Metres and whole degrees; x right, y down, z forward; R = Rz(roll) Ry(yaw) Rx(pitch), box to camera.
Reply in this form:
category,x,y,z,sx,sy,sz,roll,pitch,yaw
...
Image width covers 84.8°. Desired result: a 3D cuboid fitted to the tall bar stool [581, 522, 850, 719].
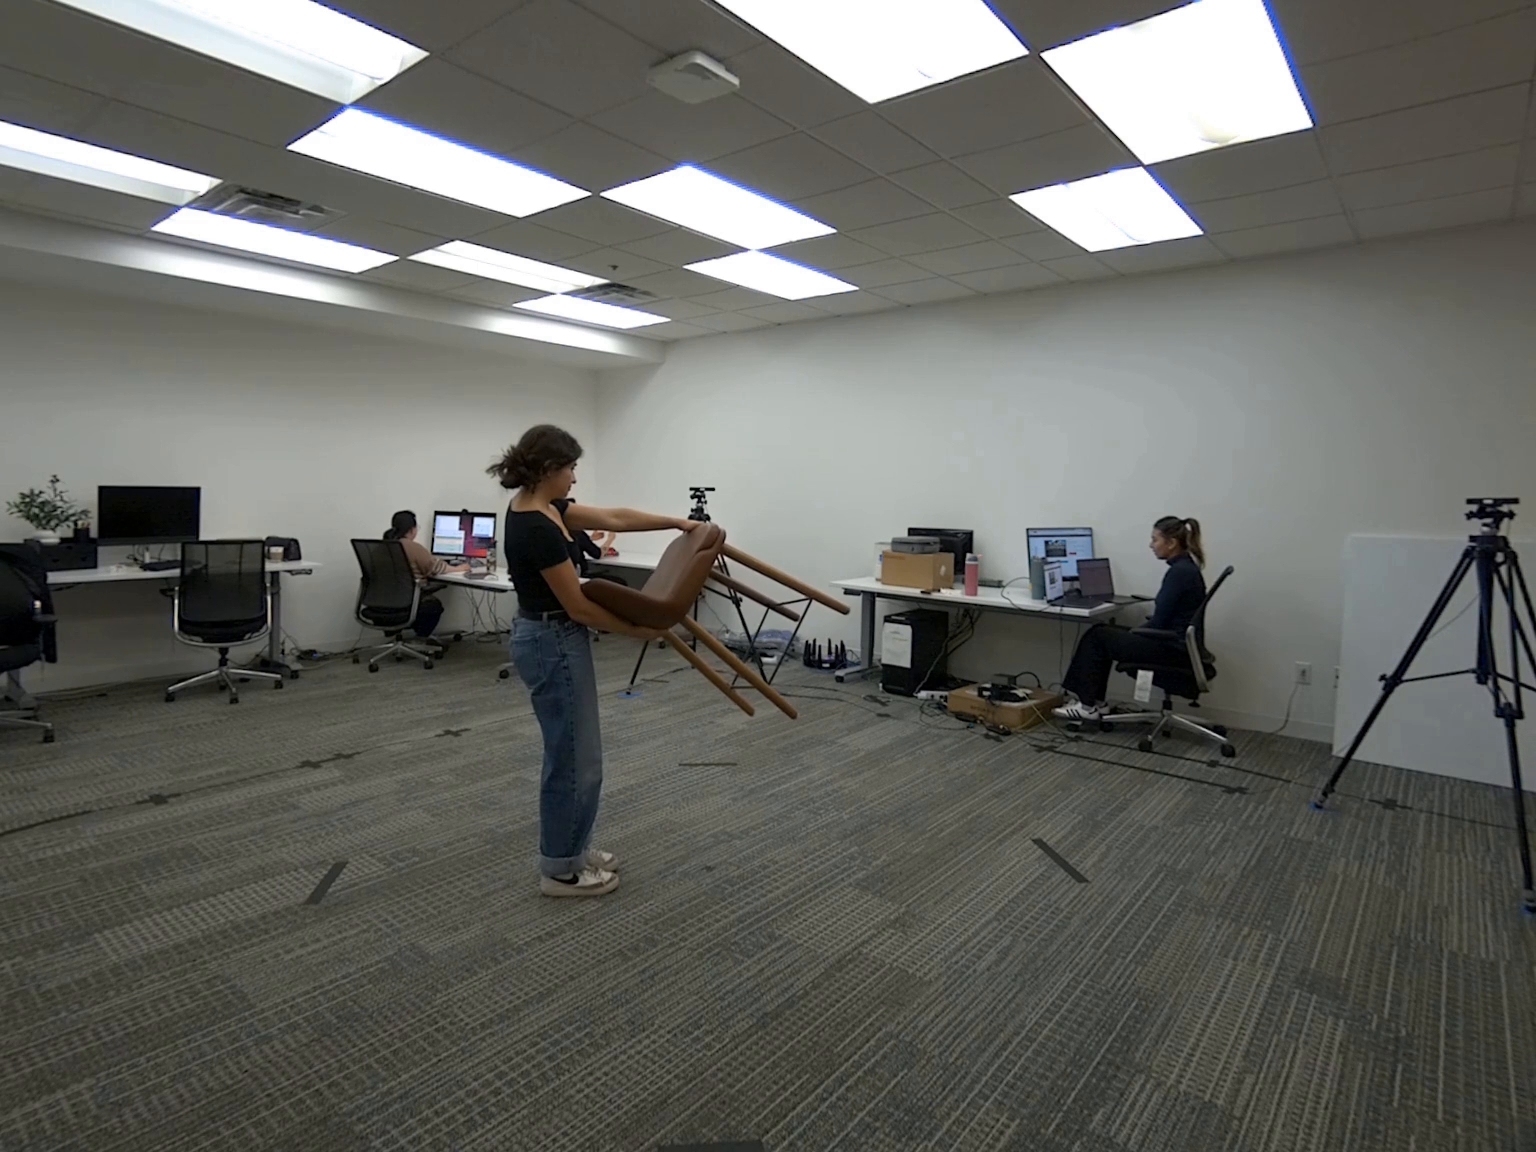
category,x,y,z,sx,sy,sz,roll,pitch,yaw
tall bar stool,-0.235,0.104,3.066,0.871,0.470,0.463,33,-19,-15
